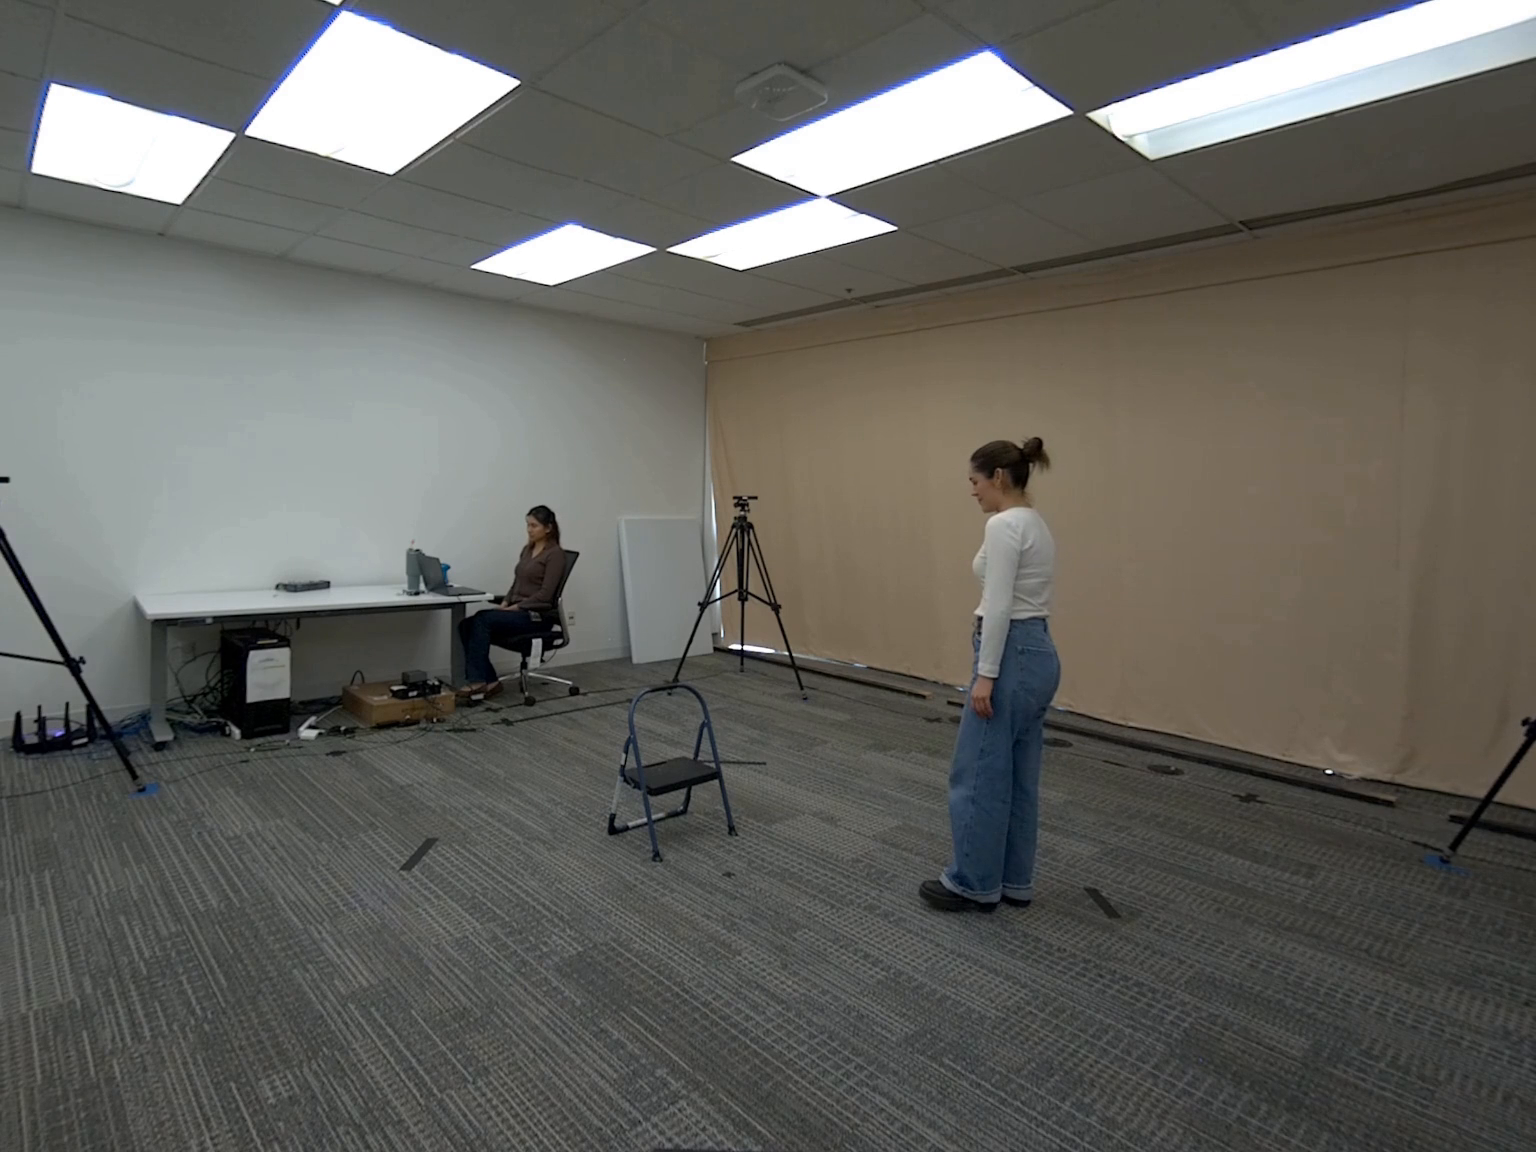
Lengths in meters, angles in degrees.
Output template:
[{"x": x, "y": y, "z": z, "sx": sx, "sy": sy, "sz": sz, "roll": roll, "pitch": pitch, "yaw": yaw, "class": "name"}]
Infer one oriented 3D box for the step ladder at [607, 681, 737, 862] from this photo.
[{"x": -0.389, "y": 0.763, "z": 3.449, "sx": 0.420, "sy": 0.604, "sz": 0.358, "roll": -1, "pitch": 5, "yaw": -45, "class": "step ladder"}]
